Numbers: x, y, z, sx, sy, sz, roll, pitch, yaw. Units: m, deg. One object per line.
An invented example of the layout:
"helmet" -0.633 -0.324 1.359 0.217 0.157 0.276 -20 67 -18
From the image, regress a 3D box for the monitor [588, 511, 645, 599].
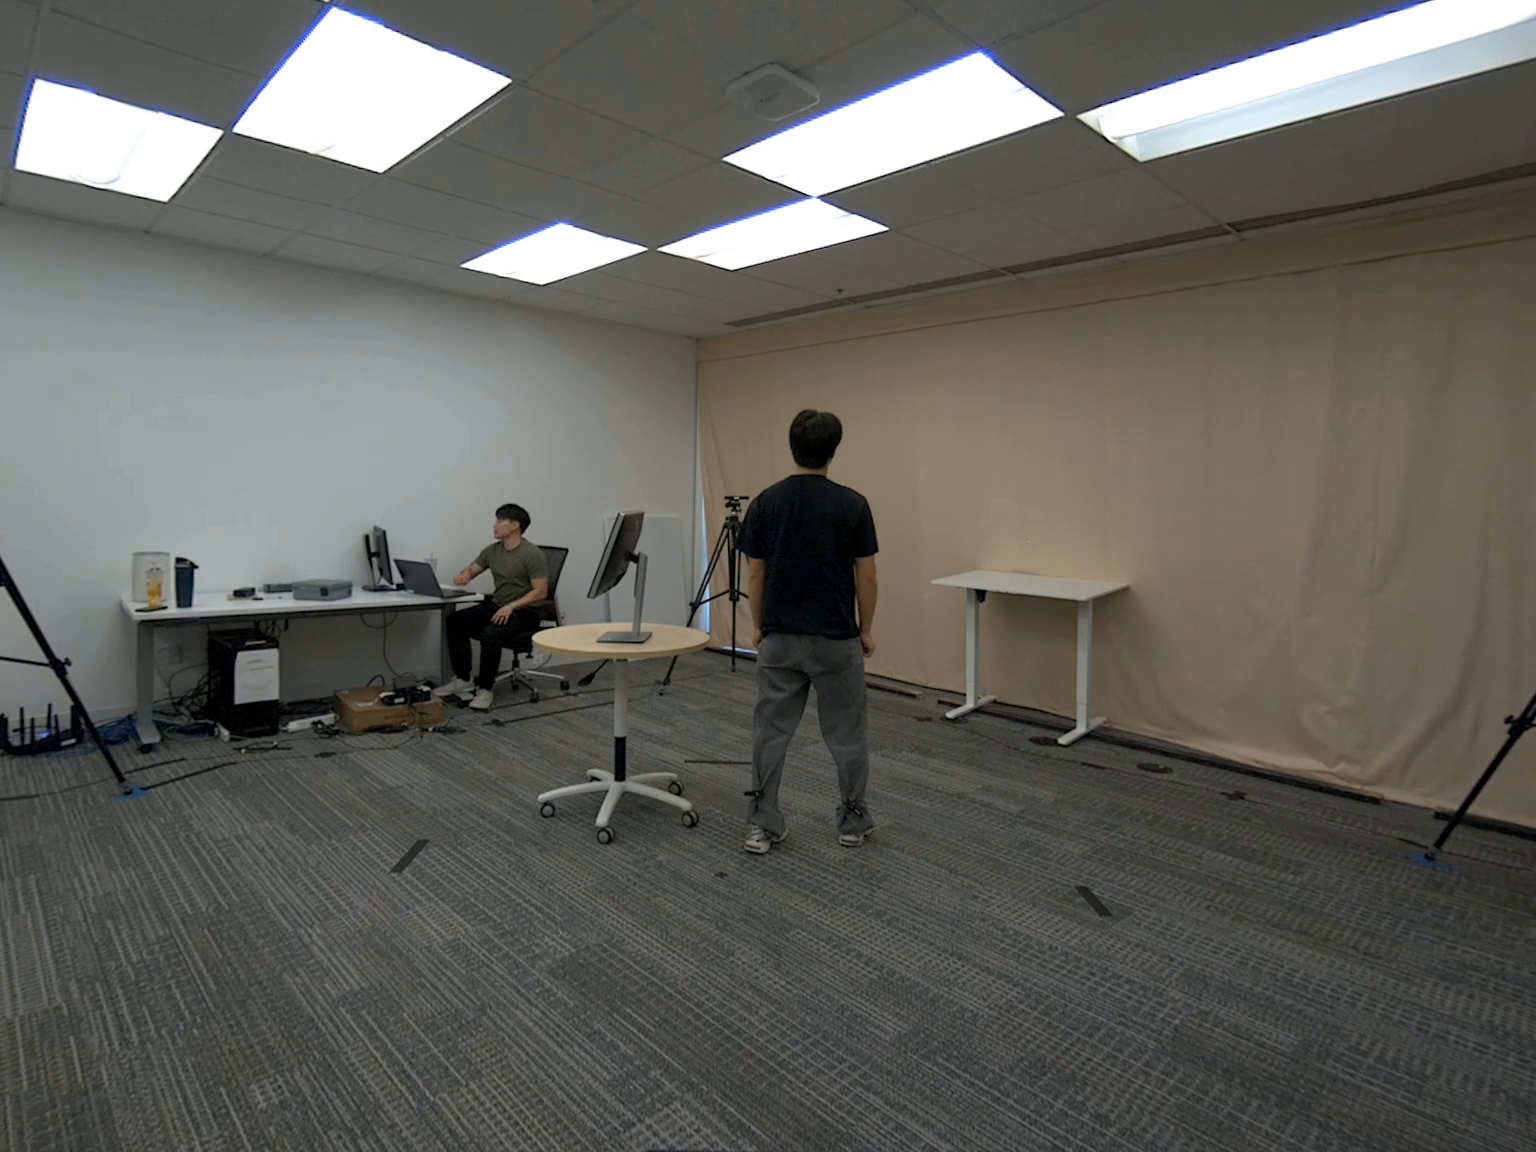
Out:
"monitor" -0.616 0.002 3.591 0.223 0.564 0.561 2 4 3
